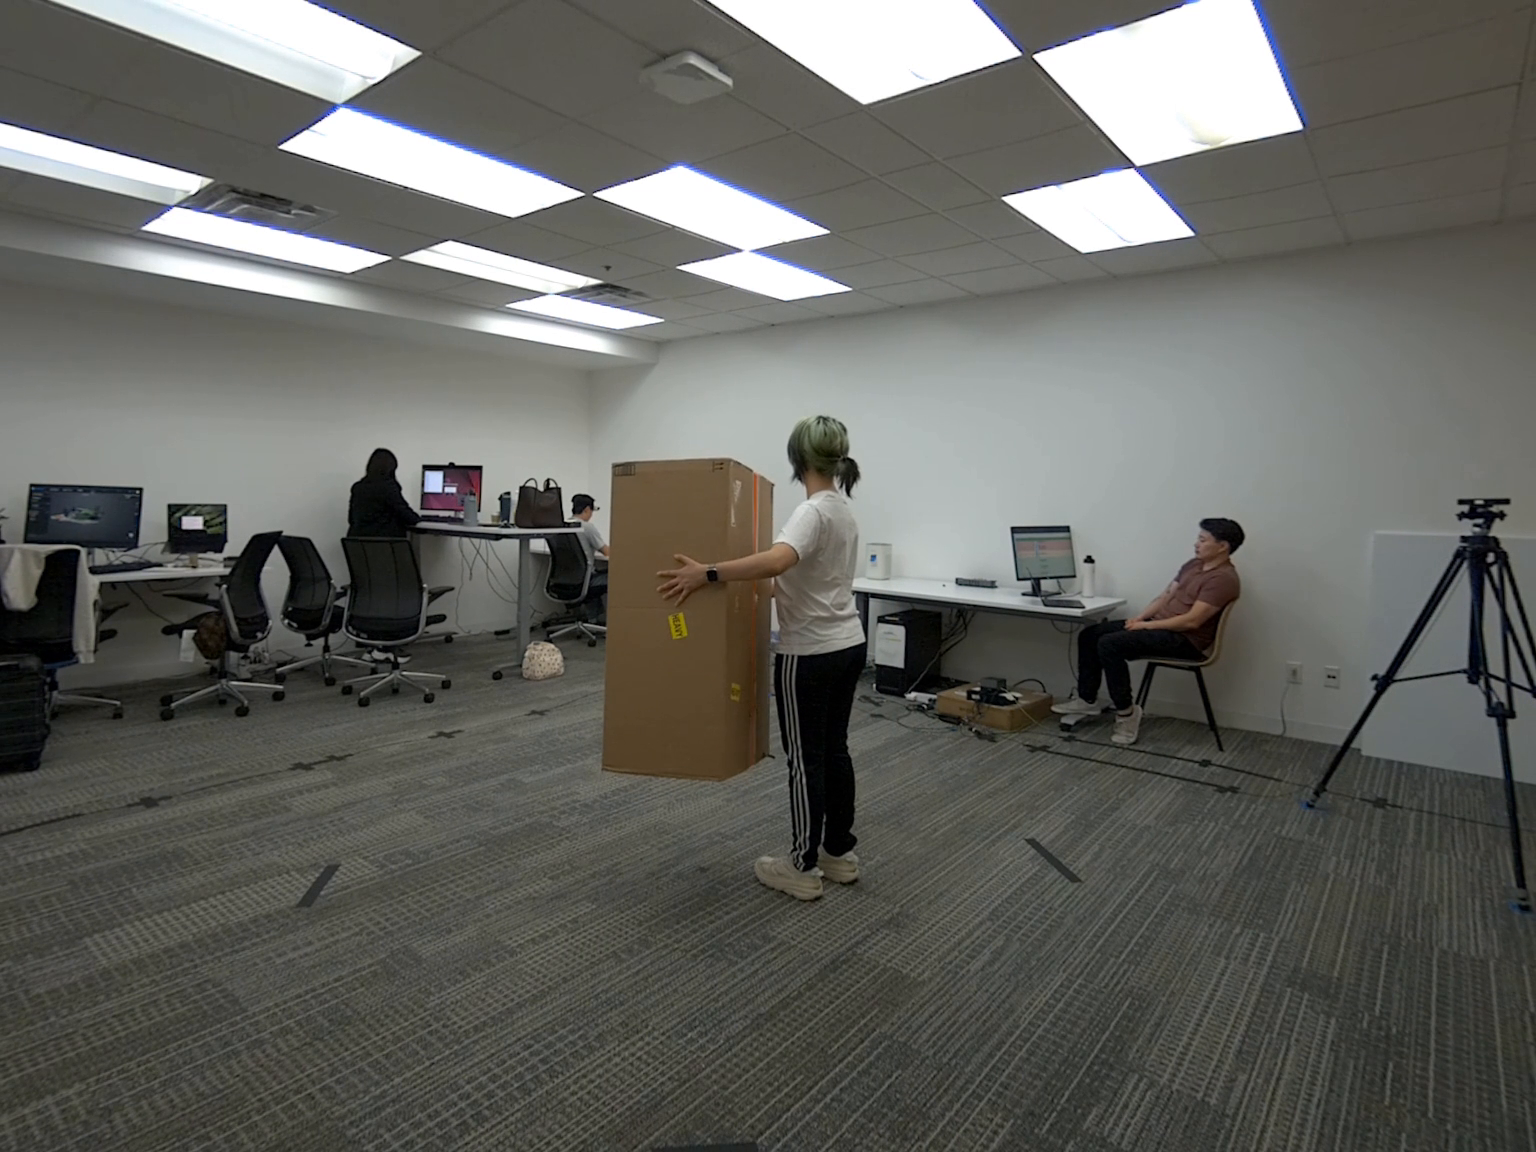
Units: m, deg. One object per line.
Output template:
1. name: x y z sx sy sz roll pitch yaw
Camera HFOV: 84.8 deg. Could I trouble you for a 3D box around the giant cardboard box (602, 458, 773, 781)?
1. giant cardboard box: -0.266 0.141 3.025 0.434 1.031 0.564 -1 -5 17
